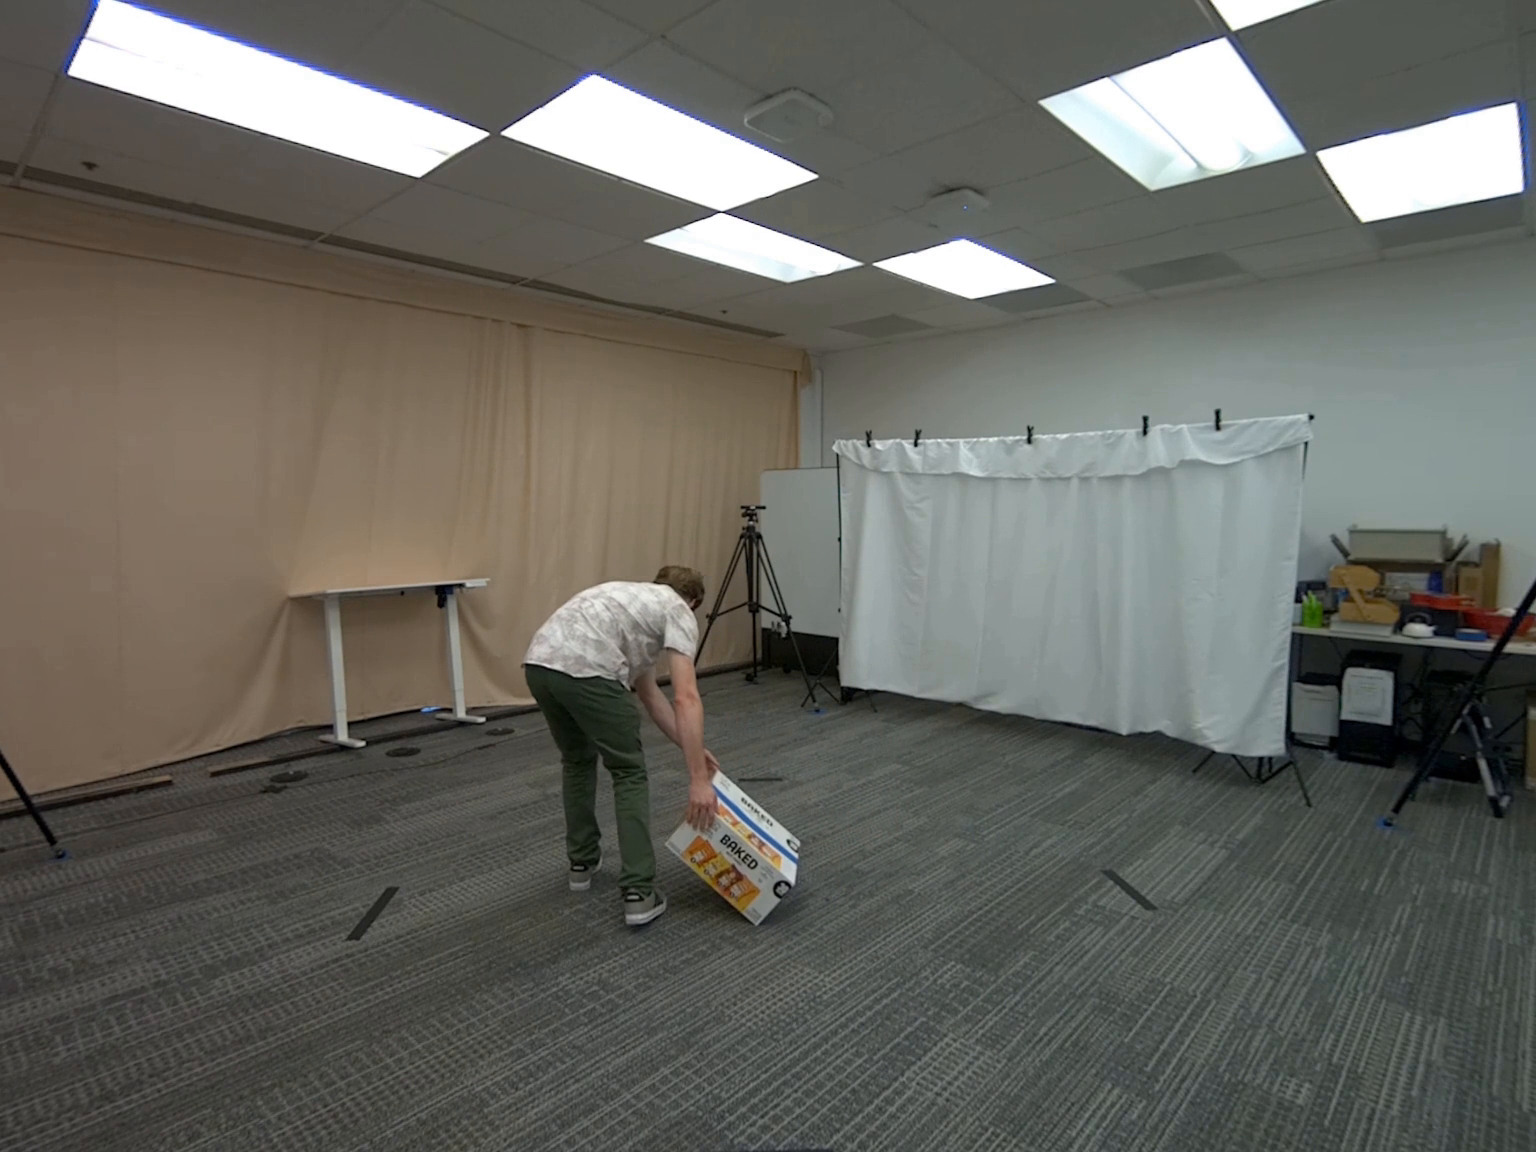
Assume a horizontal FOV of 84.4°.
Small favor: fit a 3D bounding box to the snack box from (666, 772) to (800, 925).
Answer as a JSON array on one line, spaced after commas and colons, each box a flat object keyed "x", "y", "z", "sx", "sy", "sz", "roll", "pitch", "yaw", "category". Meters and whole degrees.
[{"x": -0.110, "y": 0.941, "z": 2.953, "sx": 0.407, "sy": 0.206, "sz": 0.338, "roll": 40, "pitch": 8, "yaw": 3, "category": "snack box"}]
